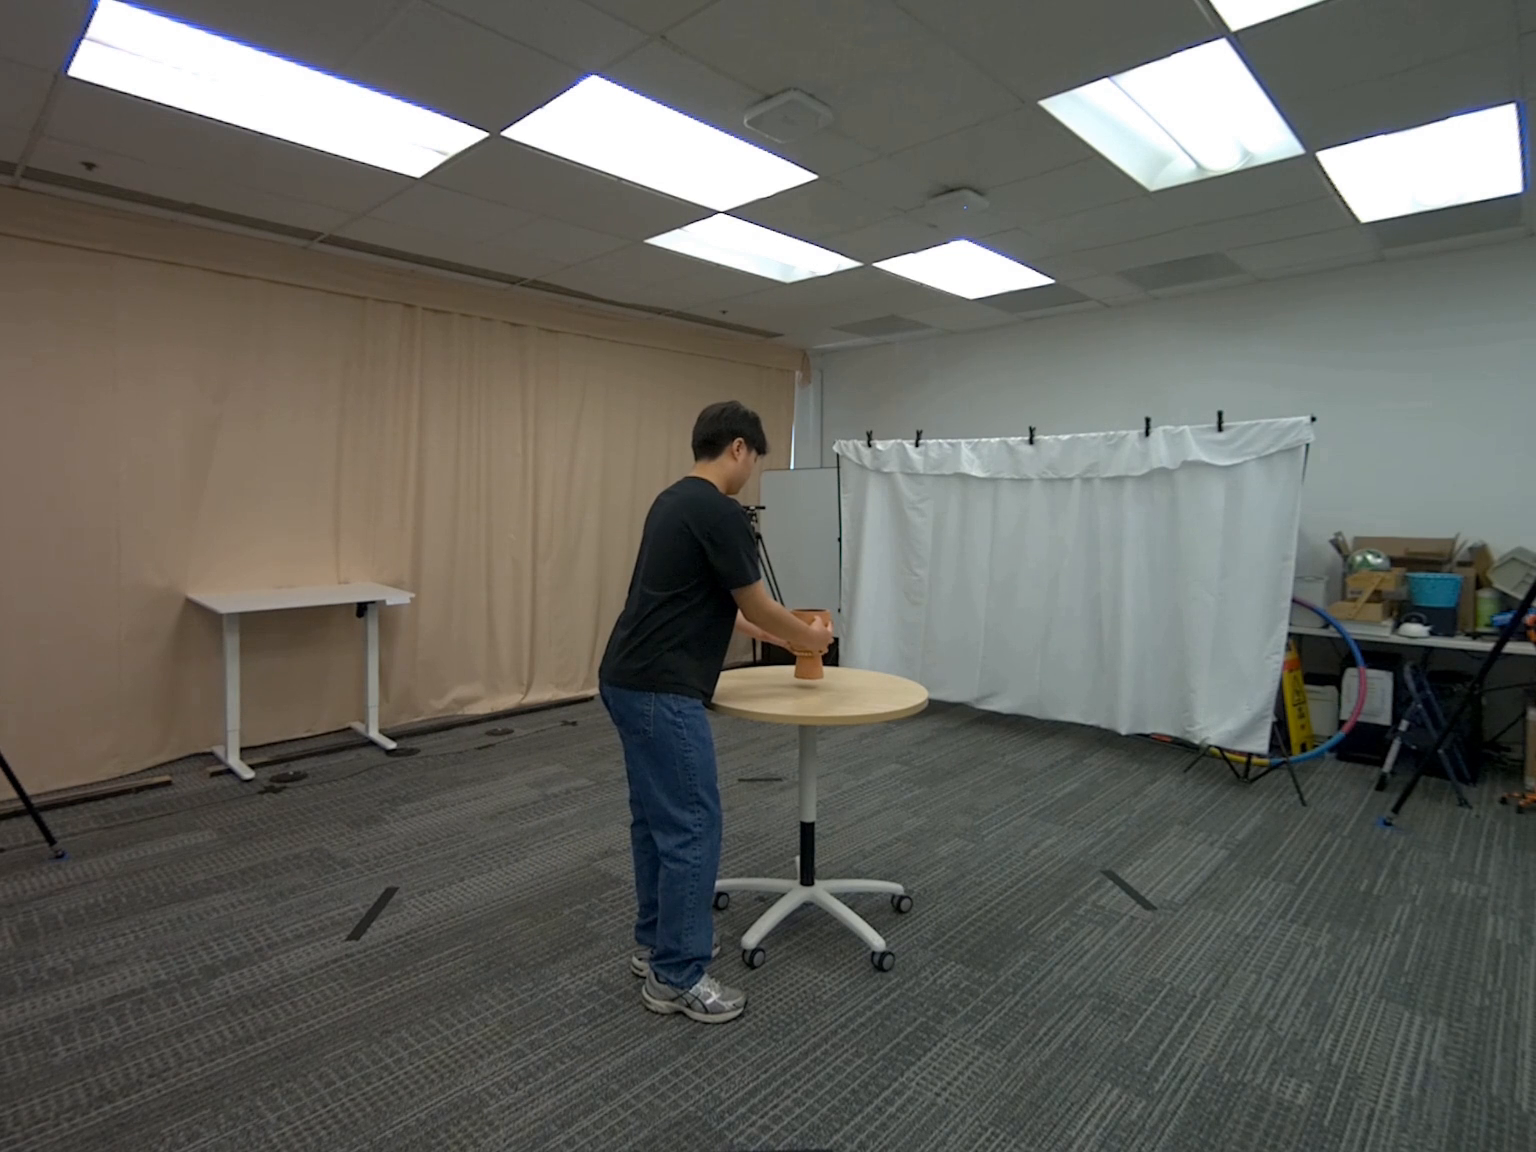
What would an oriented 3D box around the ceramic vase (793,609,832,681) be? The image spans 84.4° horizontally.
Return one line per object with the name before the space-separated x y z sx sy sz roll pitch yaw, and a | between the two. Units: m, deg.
ceramic vase | 0.144 0.225 2.744 0.159 0.219 0.134 0 2 3
